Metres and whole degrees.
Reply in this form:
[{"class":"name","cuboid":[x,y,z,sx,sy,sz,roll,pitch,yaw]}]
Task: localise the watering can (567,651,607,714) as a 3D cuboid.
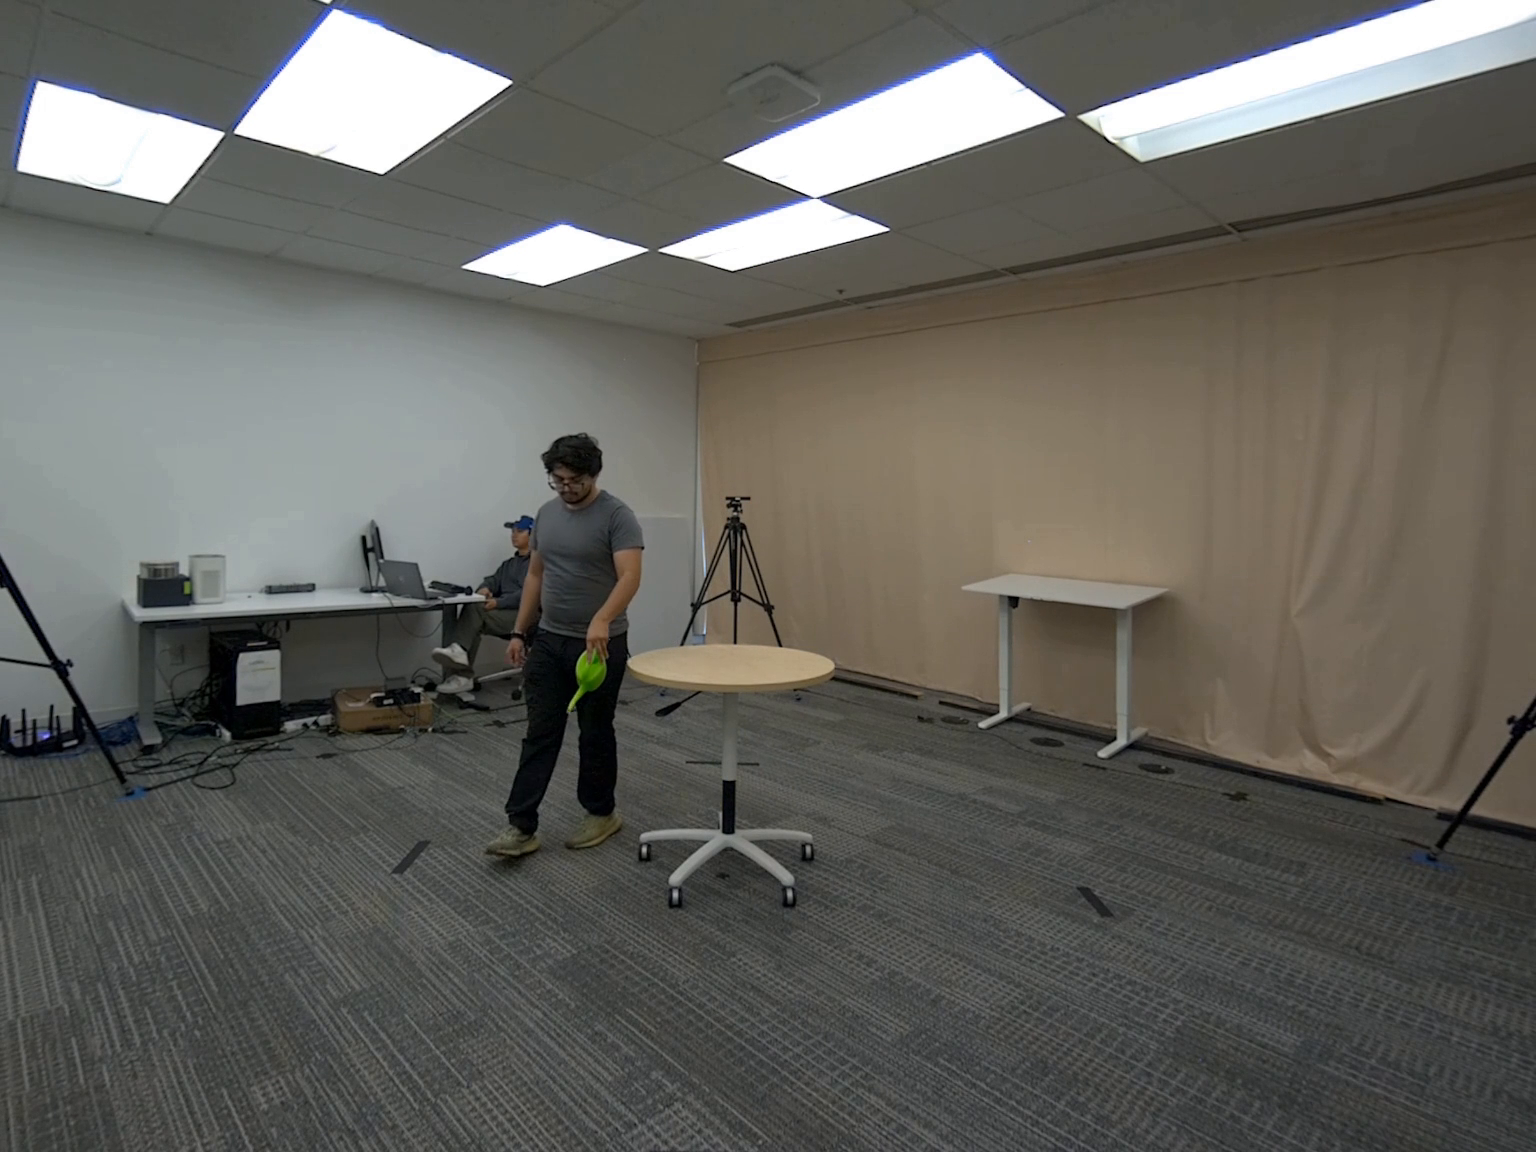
[{"class":"watering can","cuboid":[-0.663,0.351,2.956,0.099,0.279,0.175,35,-24,8]}]
